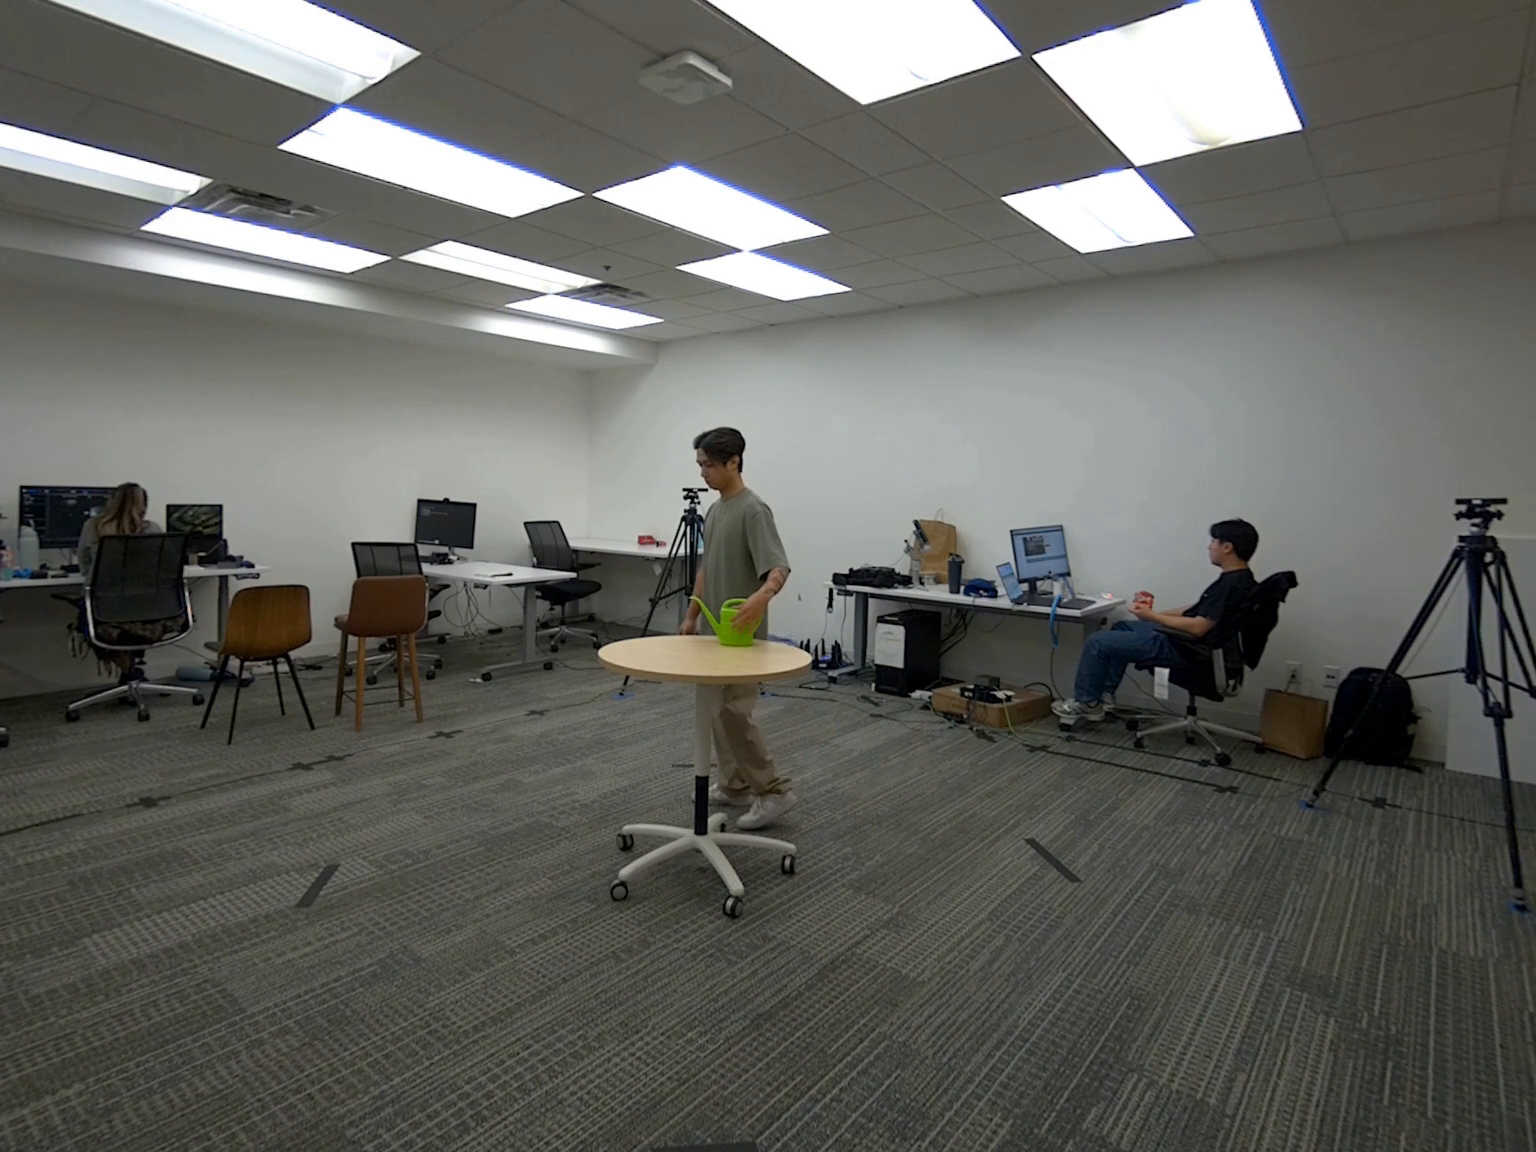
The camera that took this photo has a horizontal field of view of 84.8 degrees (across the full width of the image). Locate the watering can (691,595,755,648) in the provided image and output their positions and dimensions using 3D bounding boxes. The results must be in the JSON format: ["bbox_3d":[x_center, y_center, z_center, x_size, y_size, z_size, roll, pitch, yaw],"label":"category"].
[{"bbox_3d":[-0.181,0.175,3.277,0.283,0.176,0.096,1,2,17],"label":"watering can"}]
